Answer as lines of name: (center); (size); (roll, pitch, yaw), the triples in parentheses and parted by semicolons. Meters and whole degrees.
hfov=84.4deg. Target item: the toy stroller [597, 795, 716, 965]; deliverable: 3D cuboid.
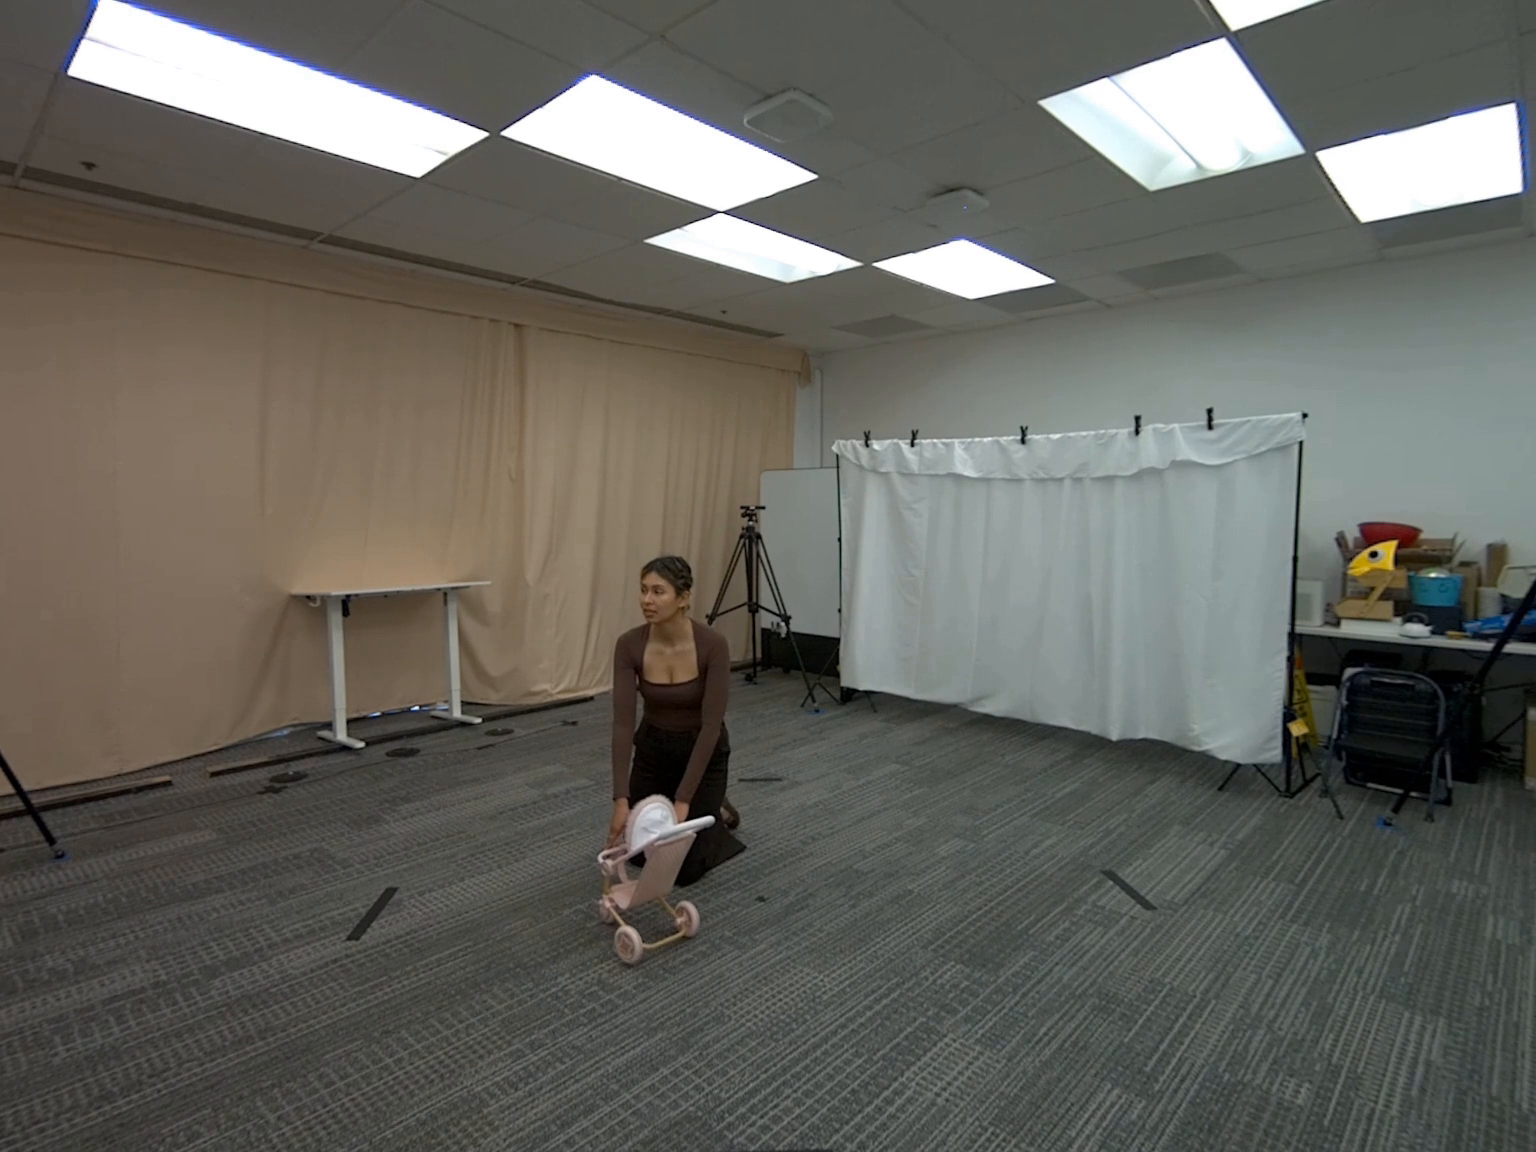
toy stroller: (-0.389, 0.937, 2.691); (0.272, 0.532, 0.354); (1, 15, -44)
